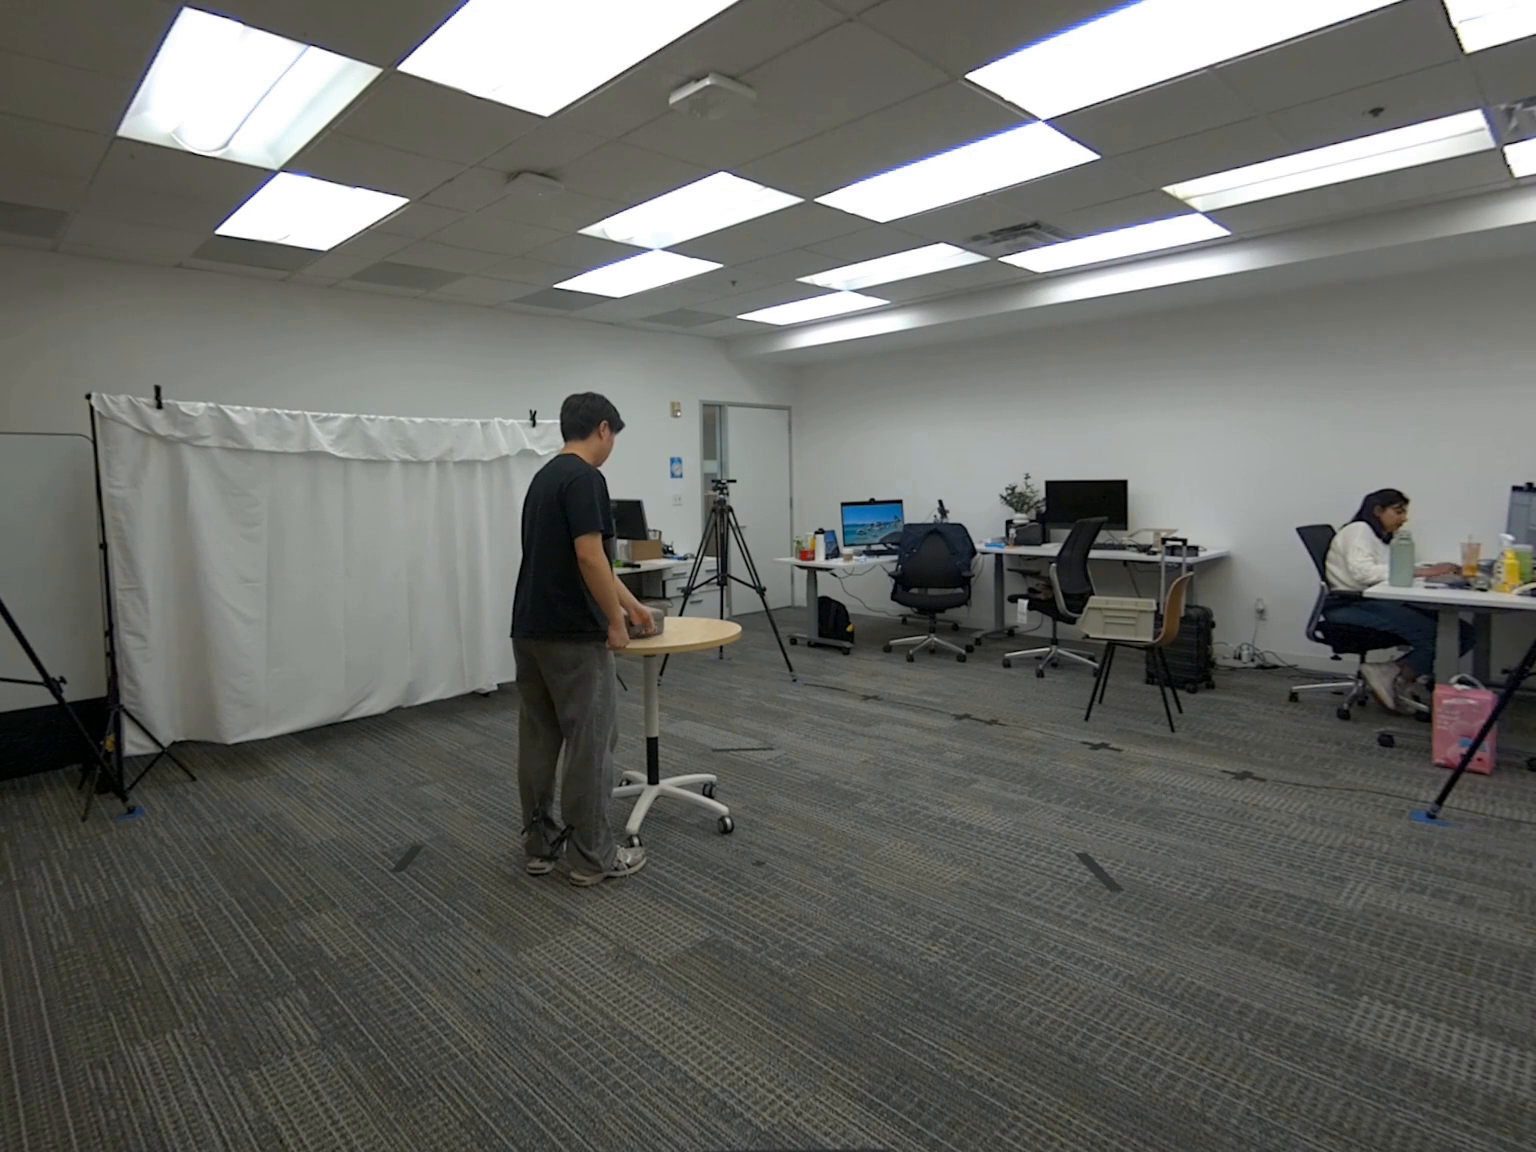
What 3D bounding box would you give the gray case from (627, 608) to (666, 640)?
[{"bbox_3d":[-0.570,0.183,3.449,0.256,0.102,0.296,-6,8,-36],"label":"gray case"}]
